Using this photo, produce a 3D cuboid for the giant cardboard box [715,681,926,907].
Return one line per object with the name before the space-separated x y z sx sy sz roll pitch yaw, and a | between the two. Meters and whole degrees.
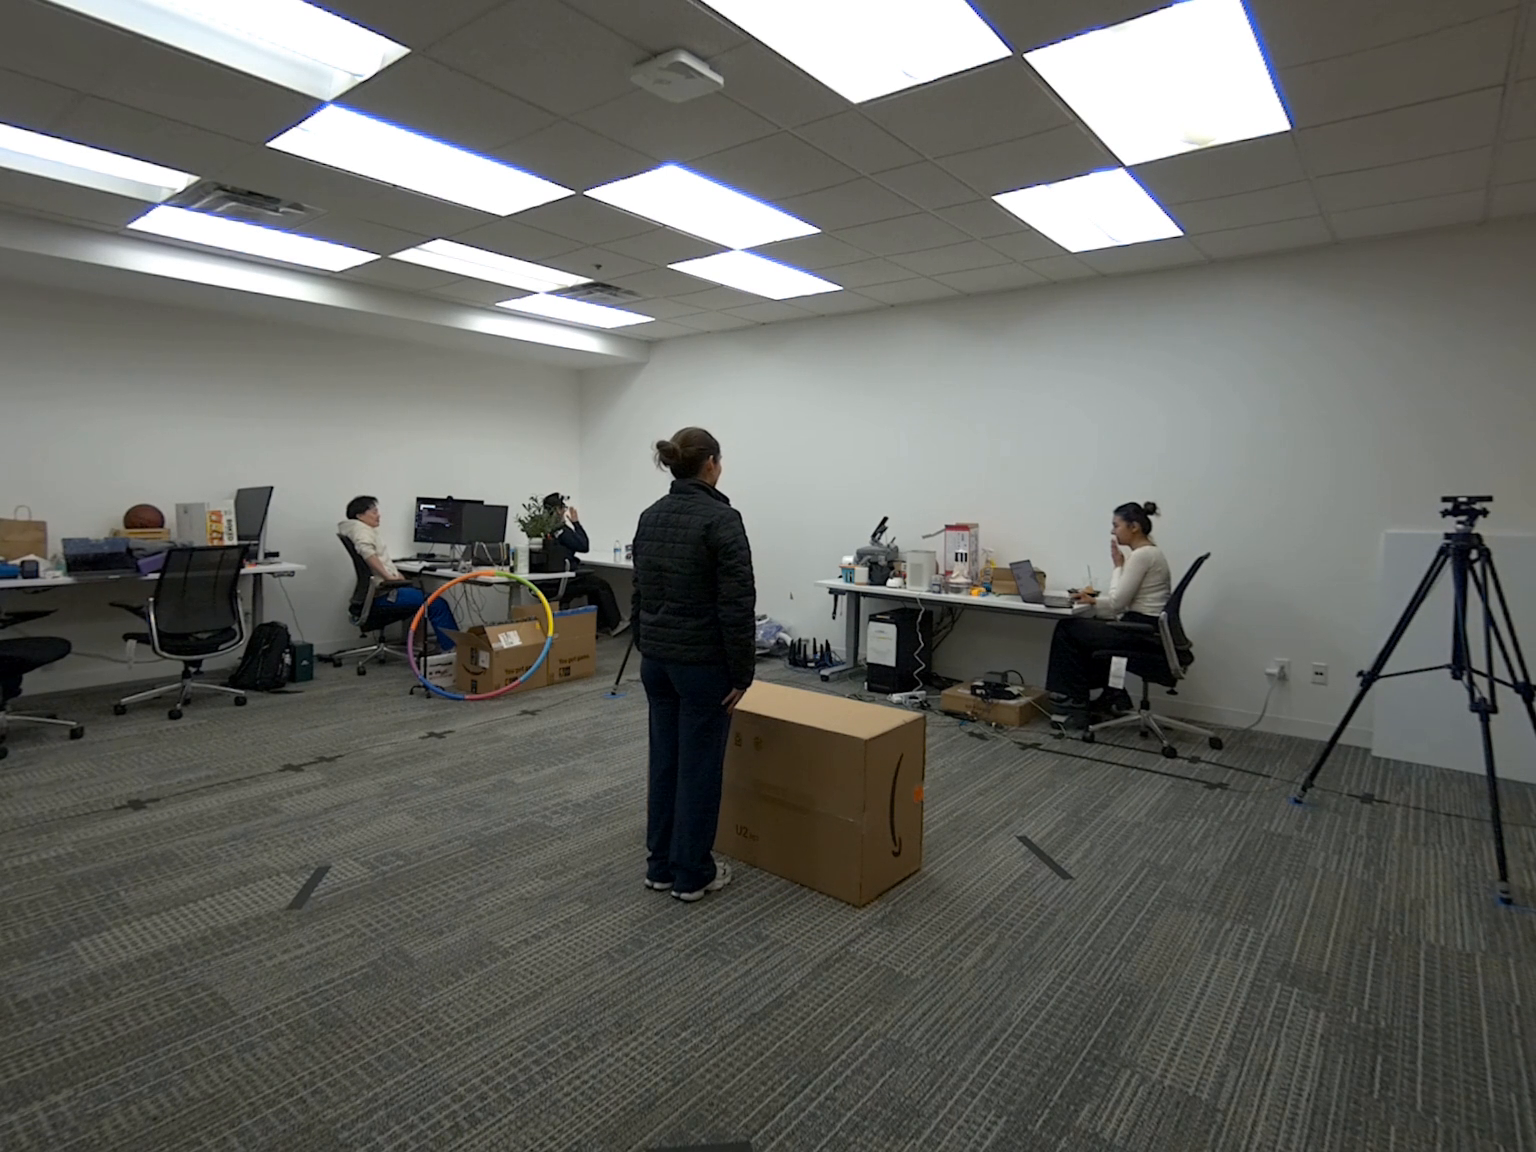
giant cardboard box | 0.061 0.764 3.318 1.062 0.581 0.434 6 7 41
